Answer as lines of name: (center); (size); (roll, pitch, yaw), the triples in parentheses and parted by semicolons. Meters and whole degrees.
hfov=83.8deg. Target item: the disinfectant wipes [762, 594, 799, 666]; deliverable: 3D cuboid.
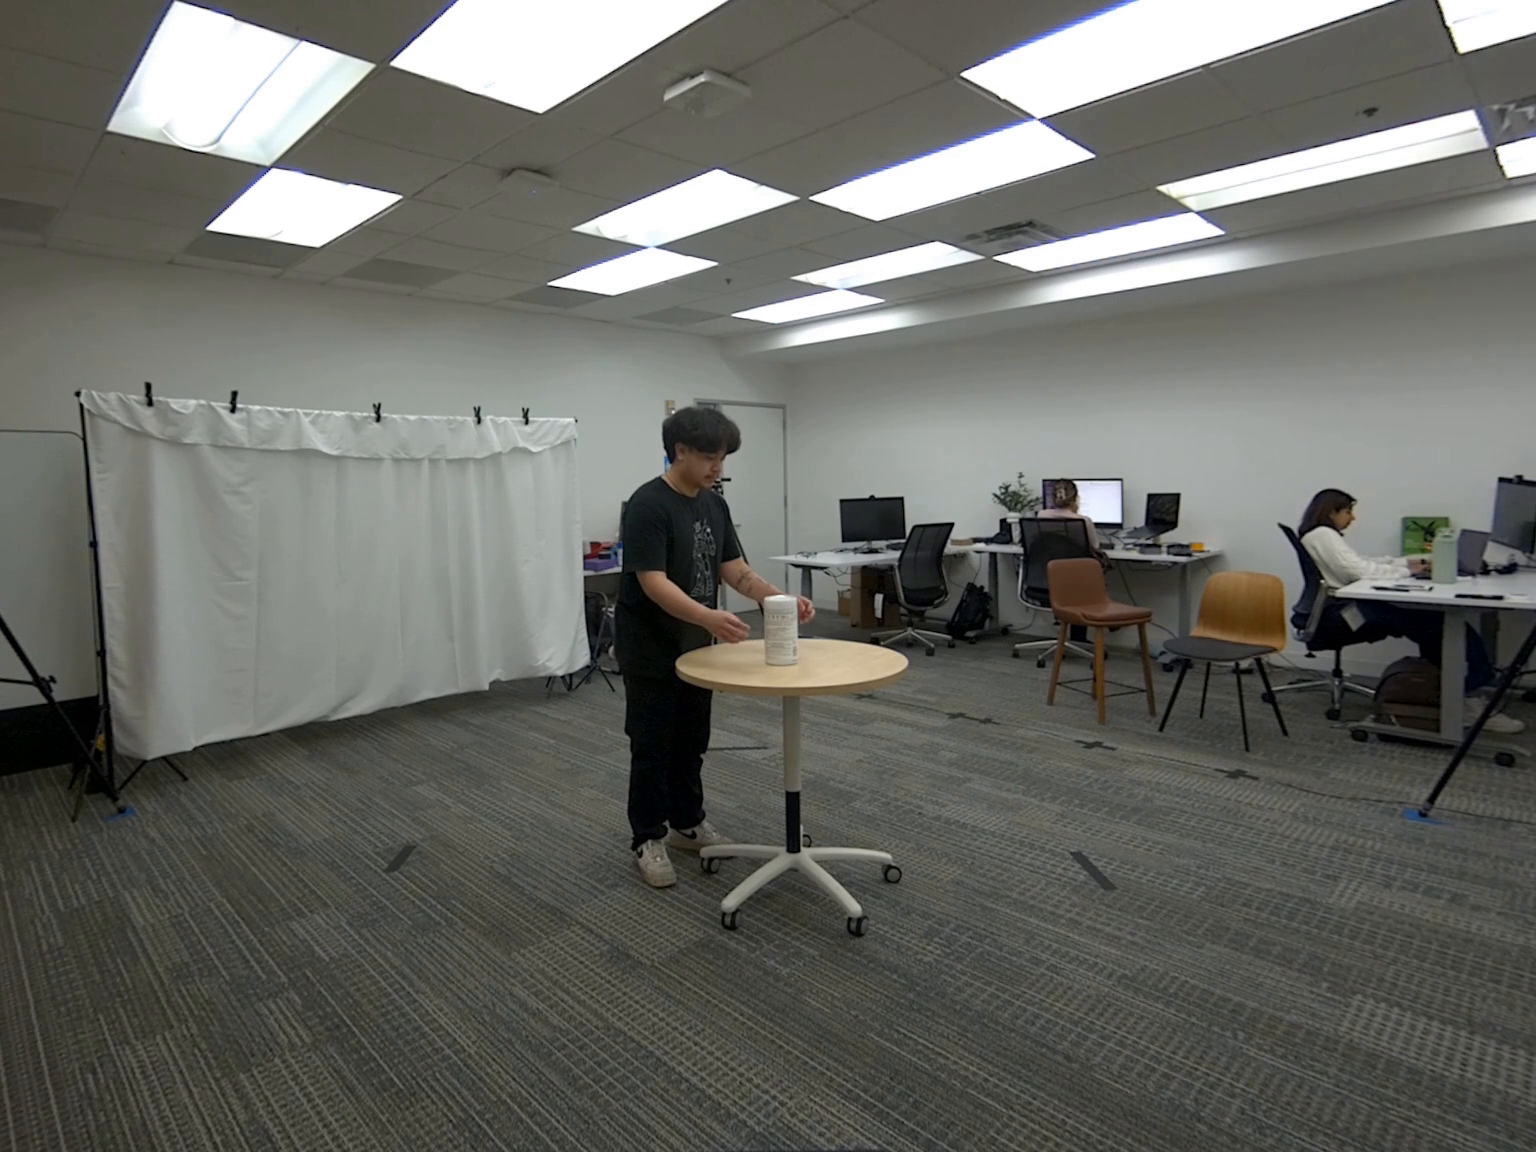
disinfectant wipes: (0.053, 0.182, 2.794); (0.118, 0.216, 0.118); (1, 5, -2)
